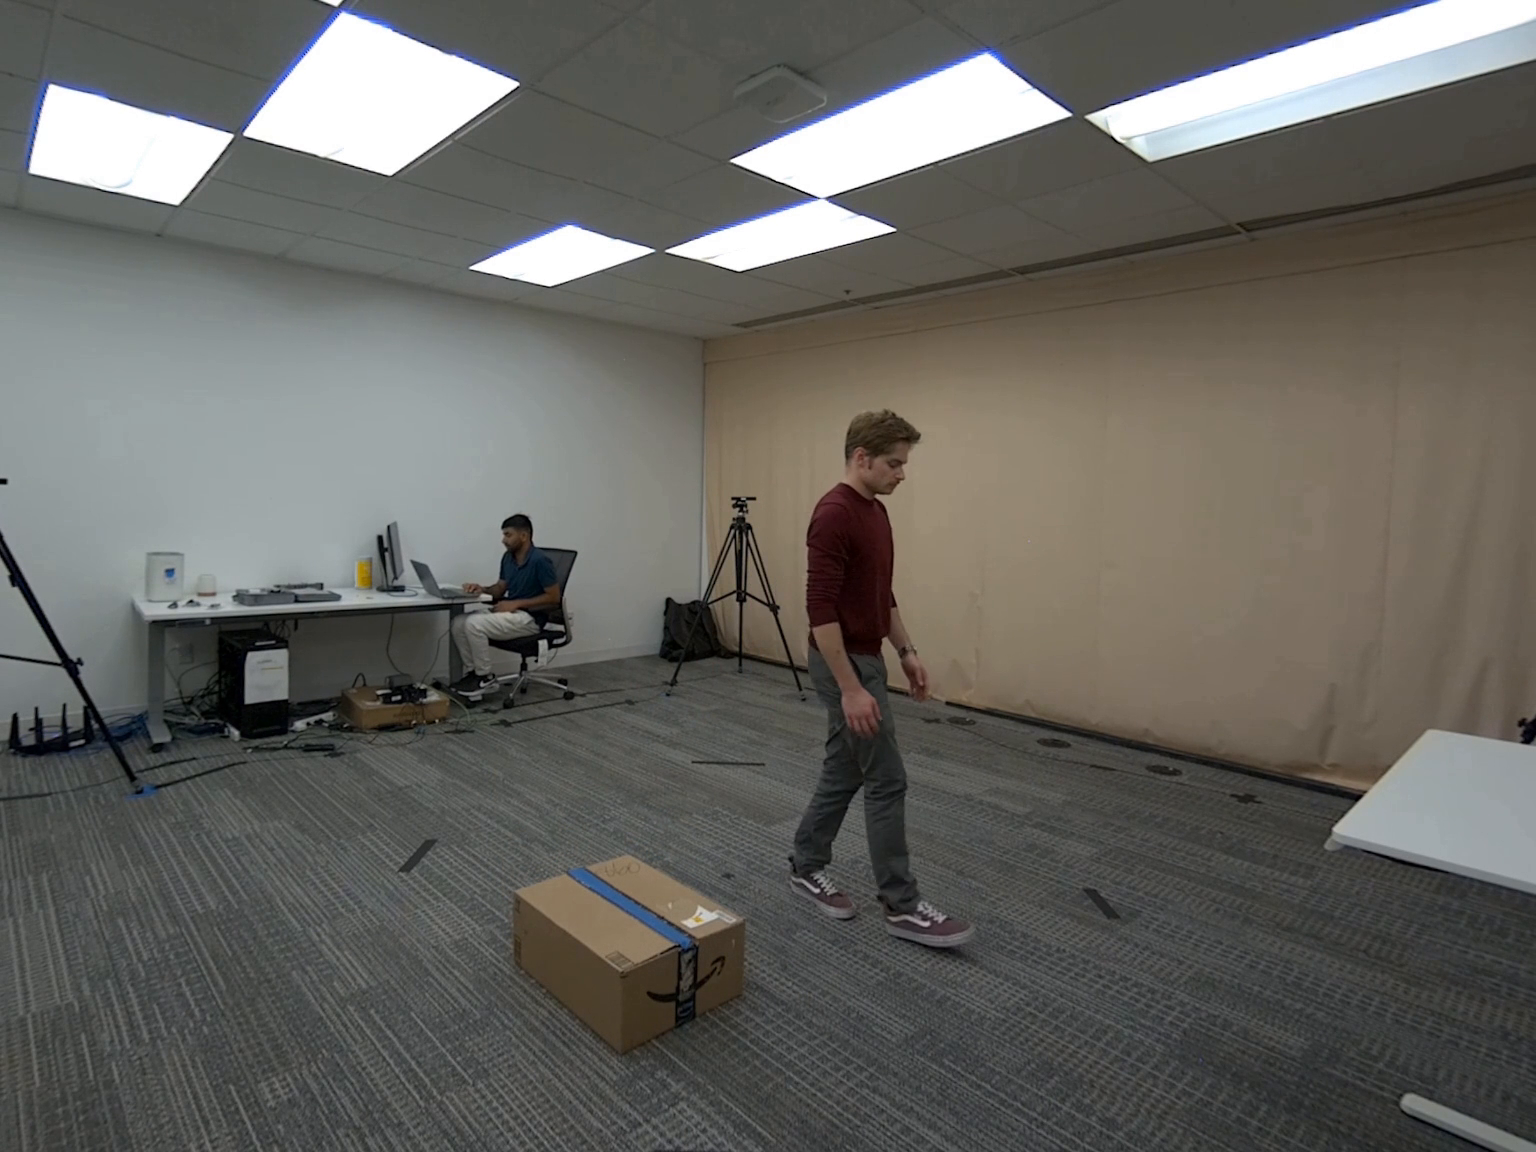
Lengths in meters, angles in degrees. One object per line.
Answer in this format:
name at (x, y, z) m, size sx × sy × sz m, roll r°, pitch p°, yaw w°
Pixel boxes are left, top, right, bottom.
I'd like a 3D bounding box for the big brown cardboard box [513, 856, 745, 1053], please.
big brown cardboard box at (-0.415, 1.056, 2.418) m, size 0.408 × 0.232 × 0.604 m, roll -3°, pitch 6°, yaw -44°
